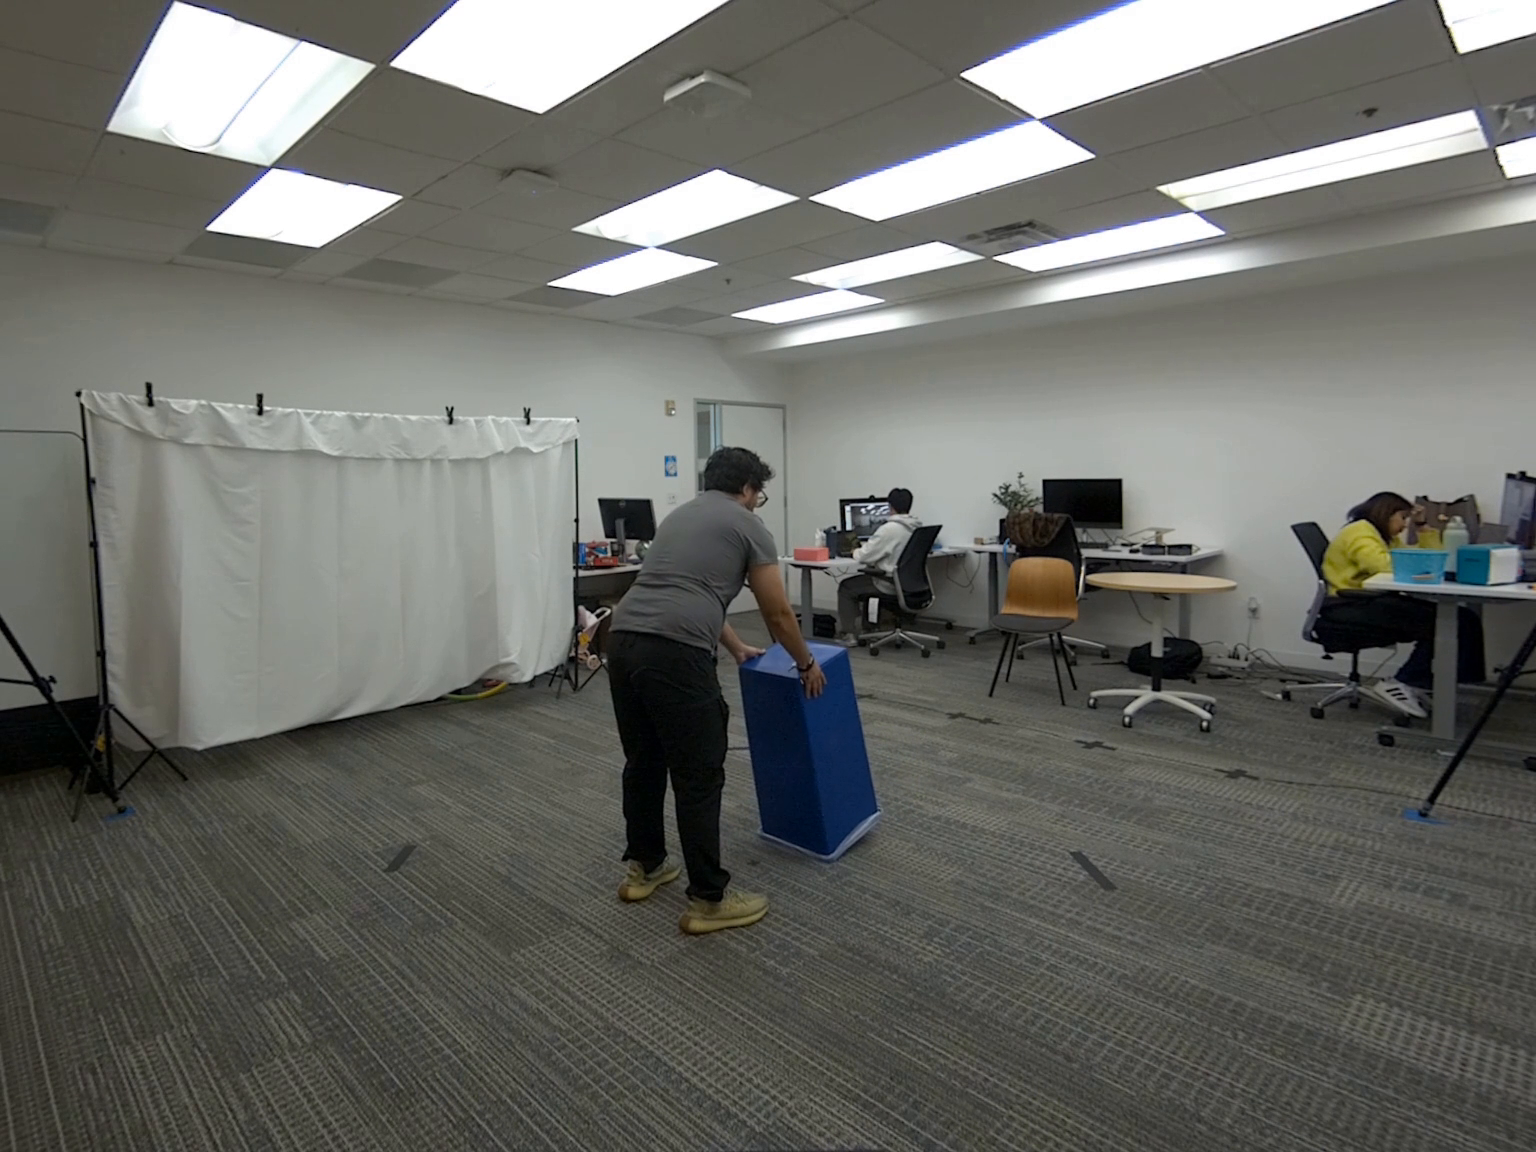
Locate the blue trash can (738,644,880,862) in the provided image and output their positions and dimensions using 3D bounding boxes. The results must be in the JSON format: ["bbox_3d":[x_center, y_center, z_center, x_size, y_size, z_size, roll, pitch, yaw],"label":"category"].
[{"bbox_3d":[0.153,0.640,3.247,0.386,0.703,0.372,4,20,43],"label":"blue trash can"}]
